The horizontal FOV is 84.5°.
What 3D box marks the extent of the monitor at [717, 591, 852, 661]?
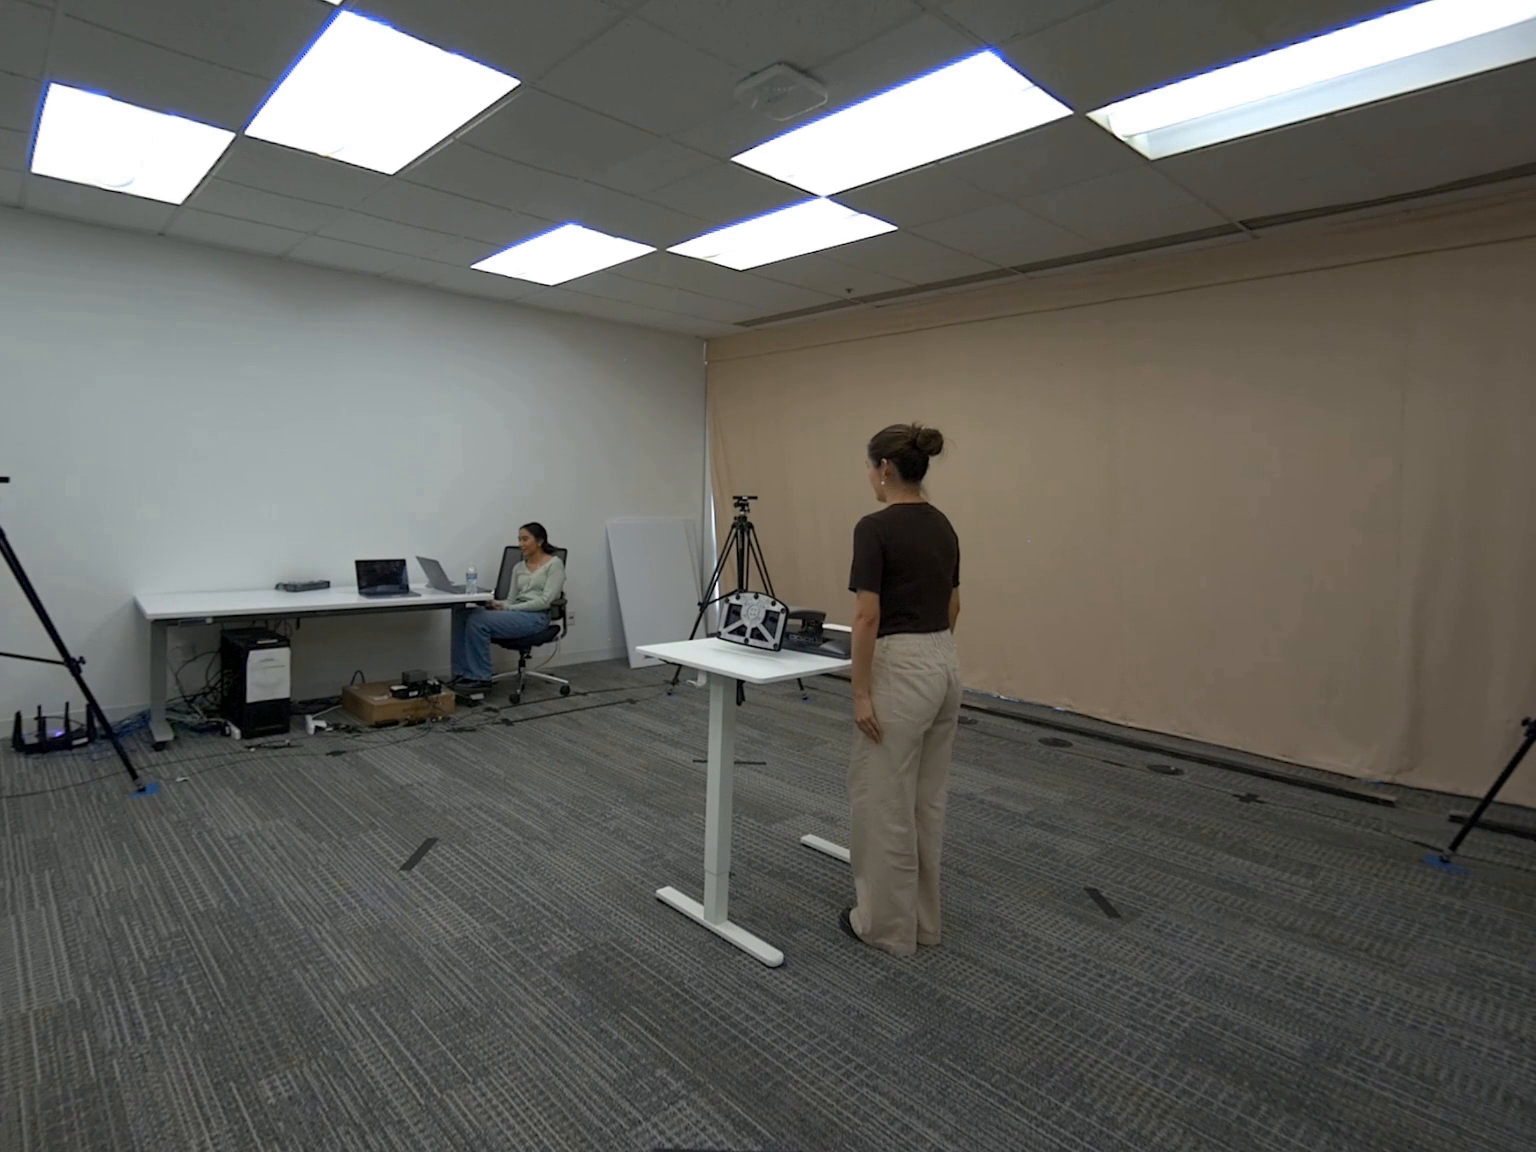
[{"bbox_3d":[0.091,0.188,2.932,0.553,0.187,0.507,9,-4,42],"label":"monitor"}]
